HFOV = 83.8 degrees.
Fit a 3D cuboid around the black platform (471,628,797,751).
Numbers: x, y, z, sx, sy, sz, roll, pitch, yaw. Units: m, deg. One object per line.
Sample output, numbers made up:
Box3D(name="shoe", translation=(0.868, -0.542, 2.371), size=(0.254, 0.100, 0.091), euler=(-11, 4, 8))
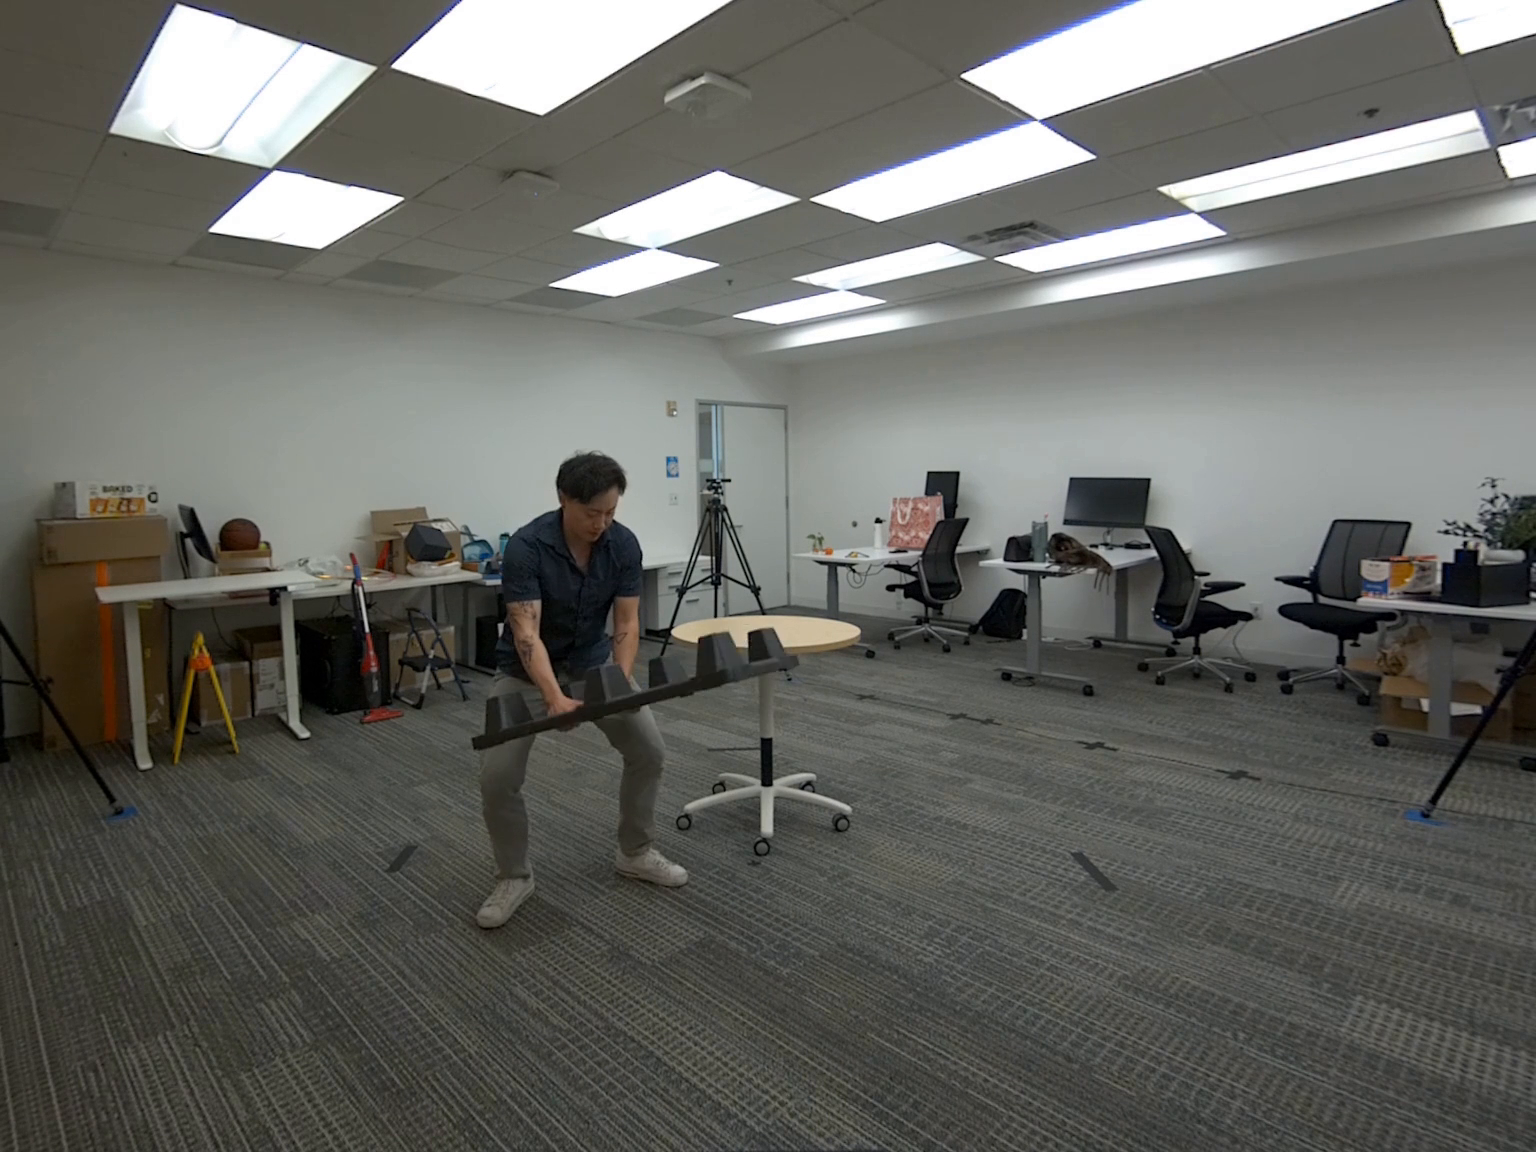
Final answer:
Box3D(name="black platform", translation=(-0.369, 0.324, 2.490), size=(0.815, 0.145, 0.592), euler=(-17, -7, 19))
